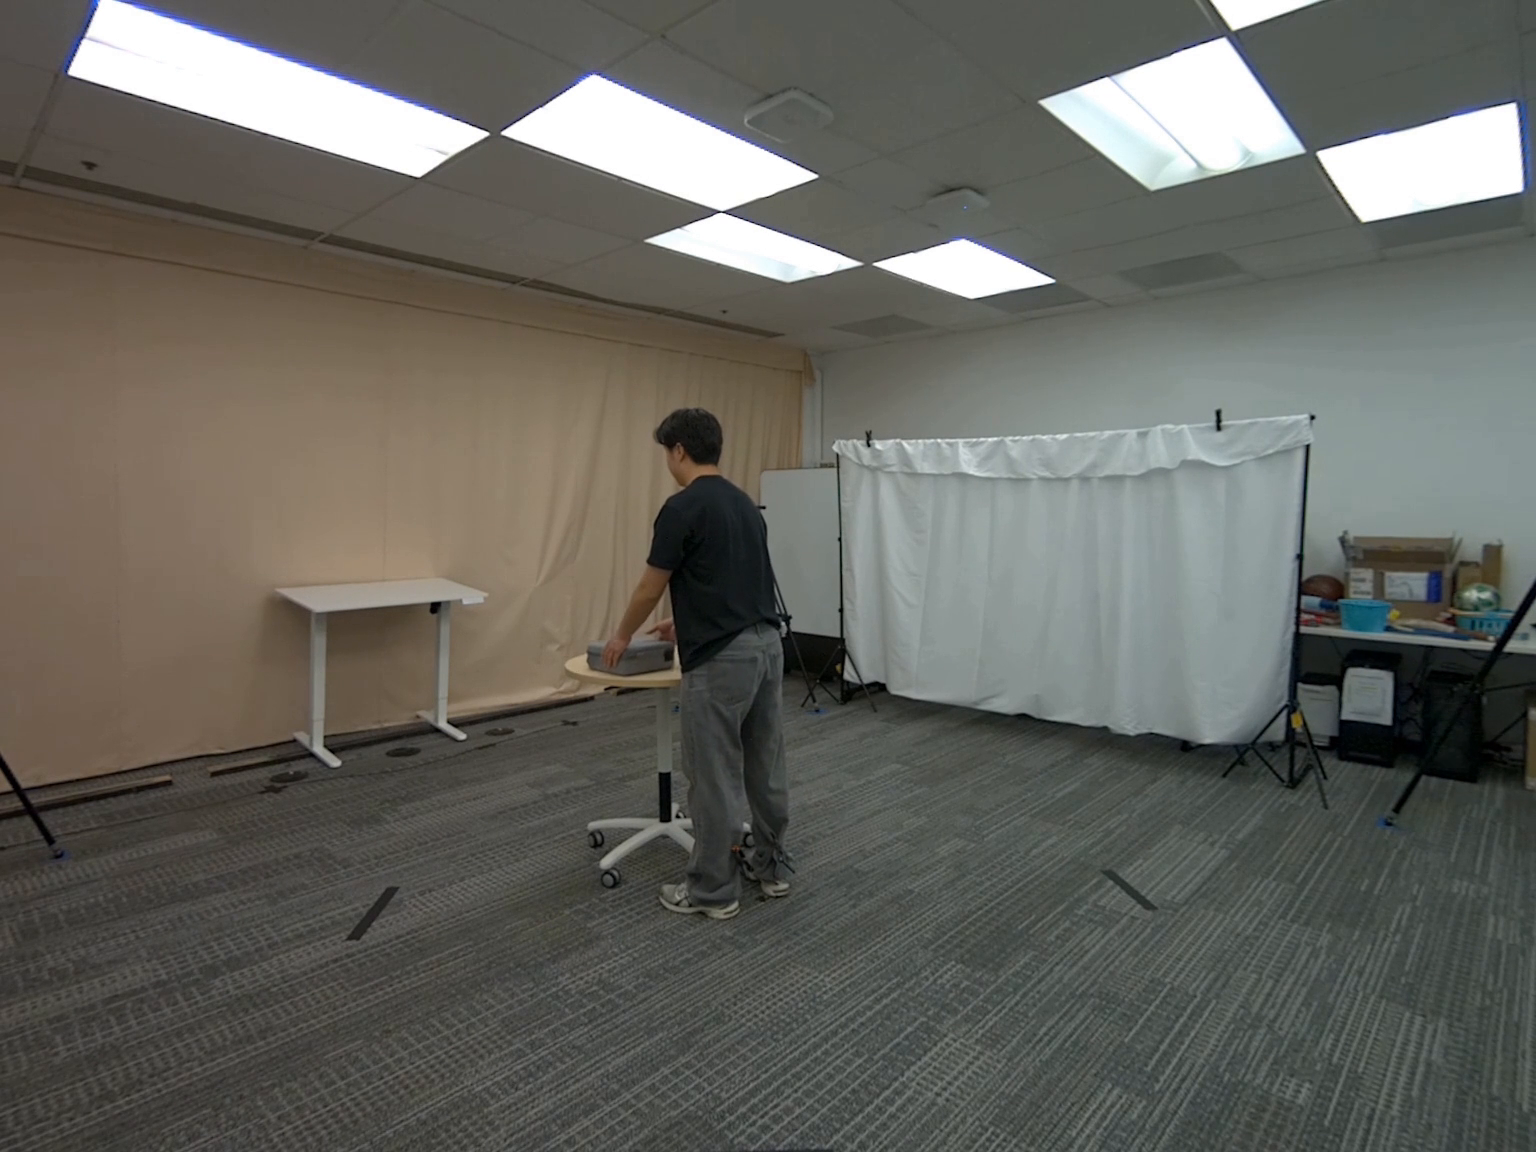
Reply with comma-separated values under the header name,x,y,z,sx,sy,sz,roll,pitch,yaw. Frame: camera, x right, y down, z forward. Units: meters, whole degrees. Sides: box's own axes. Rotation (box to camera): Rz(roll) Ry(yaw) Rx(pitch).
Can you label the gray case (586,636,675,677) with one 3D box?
name,x,y,z,sx,sy,sz,roll,pitch,yaw
gray case,-0.530,0.300,3.186,0.255,0.103,0.296,-5,5,-42
